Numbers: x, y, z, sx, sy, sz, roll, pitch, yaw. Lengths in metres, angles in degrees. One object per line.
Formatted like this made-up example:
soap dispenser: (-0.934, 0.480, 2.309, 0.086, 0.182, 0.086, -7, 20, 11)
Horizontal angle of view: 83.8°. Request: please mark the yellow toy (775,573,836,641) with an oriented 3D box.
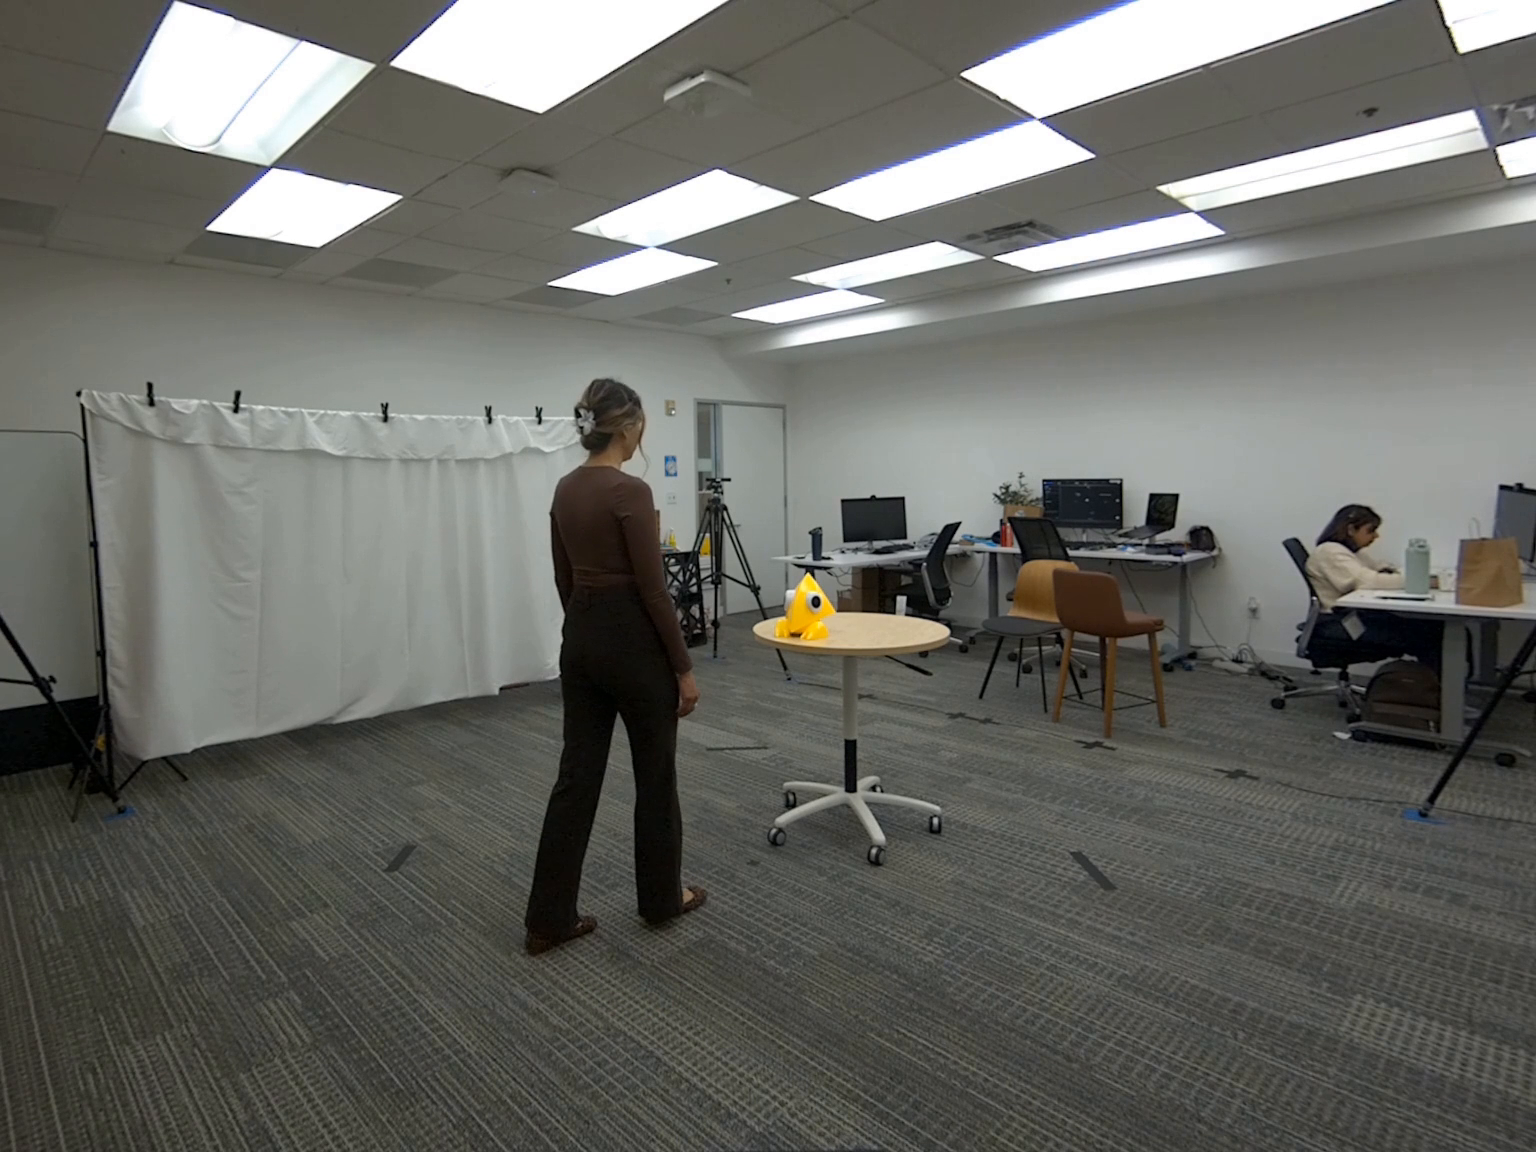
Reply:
yellow toy: (0.131, 0.110, 3.256, 0.210, 0.230, 0.189, 2, 5, 28)
